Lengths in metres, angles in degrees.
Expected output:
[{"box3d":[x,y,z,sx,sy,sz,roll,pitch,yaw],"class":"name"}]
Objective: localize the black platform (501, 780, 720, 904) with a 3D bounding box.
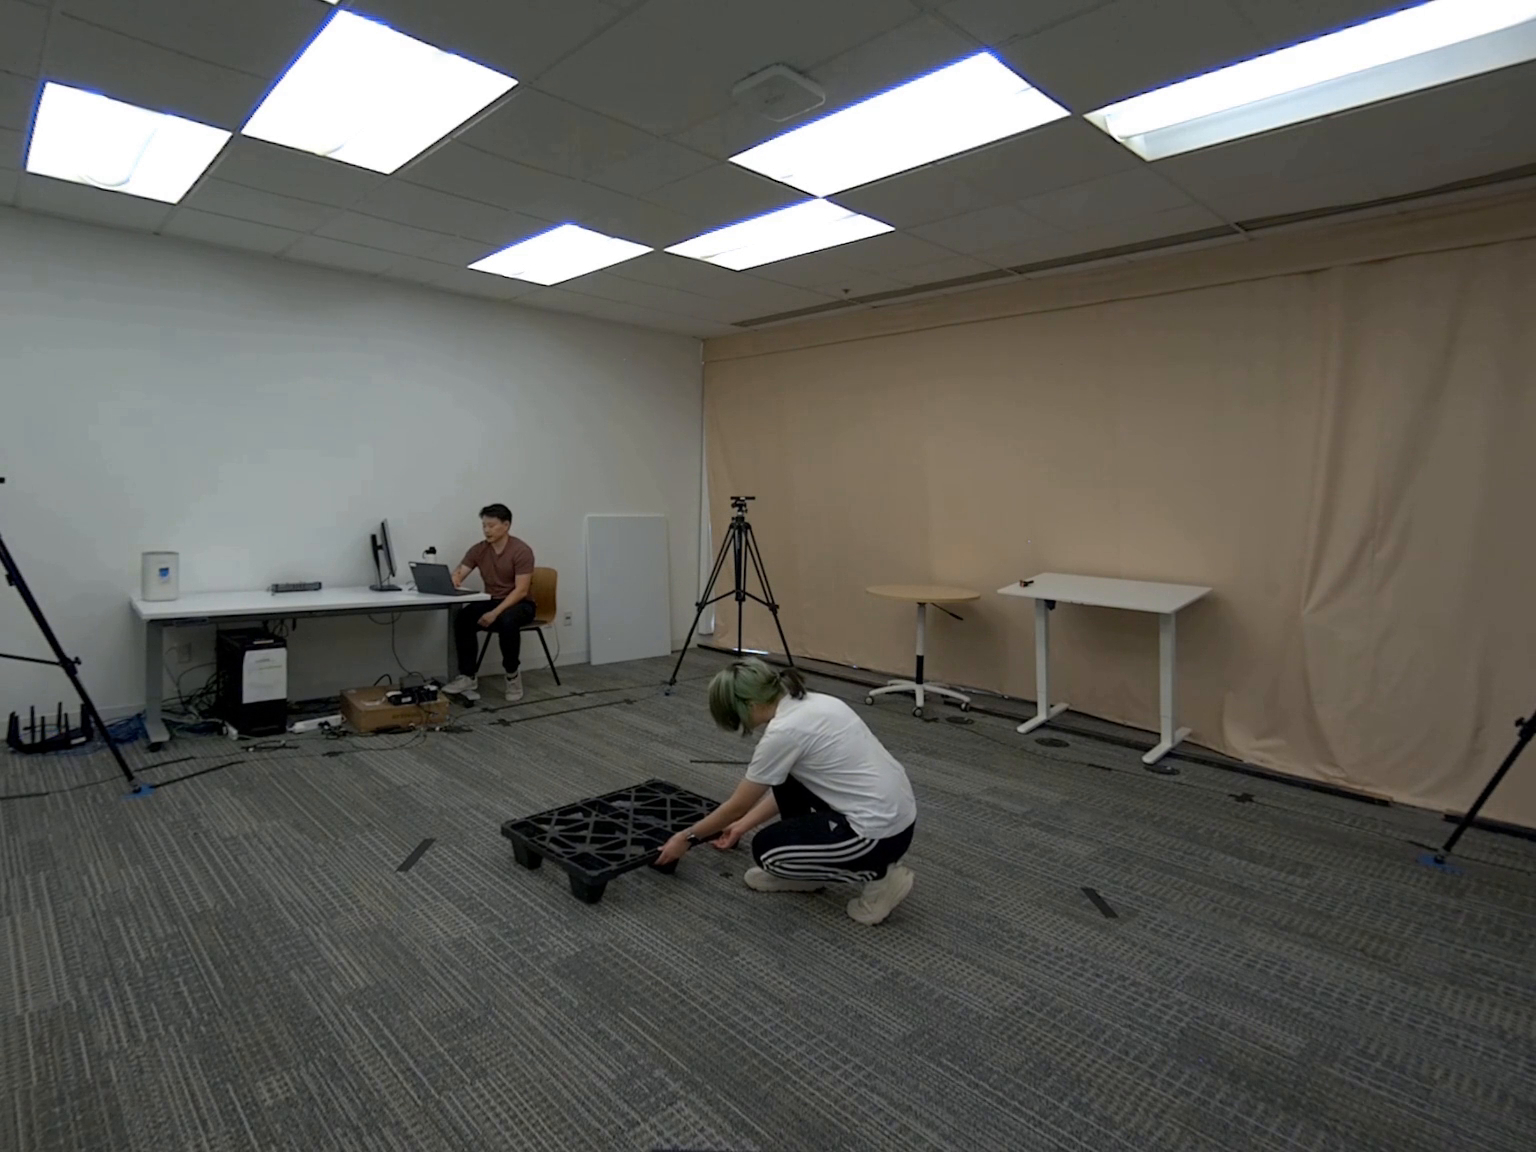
[{"box3d":[-0.537,1.016,3.278,0.621,0.143,0.787,7,8,42],"class":"black platform"}]
